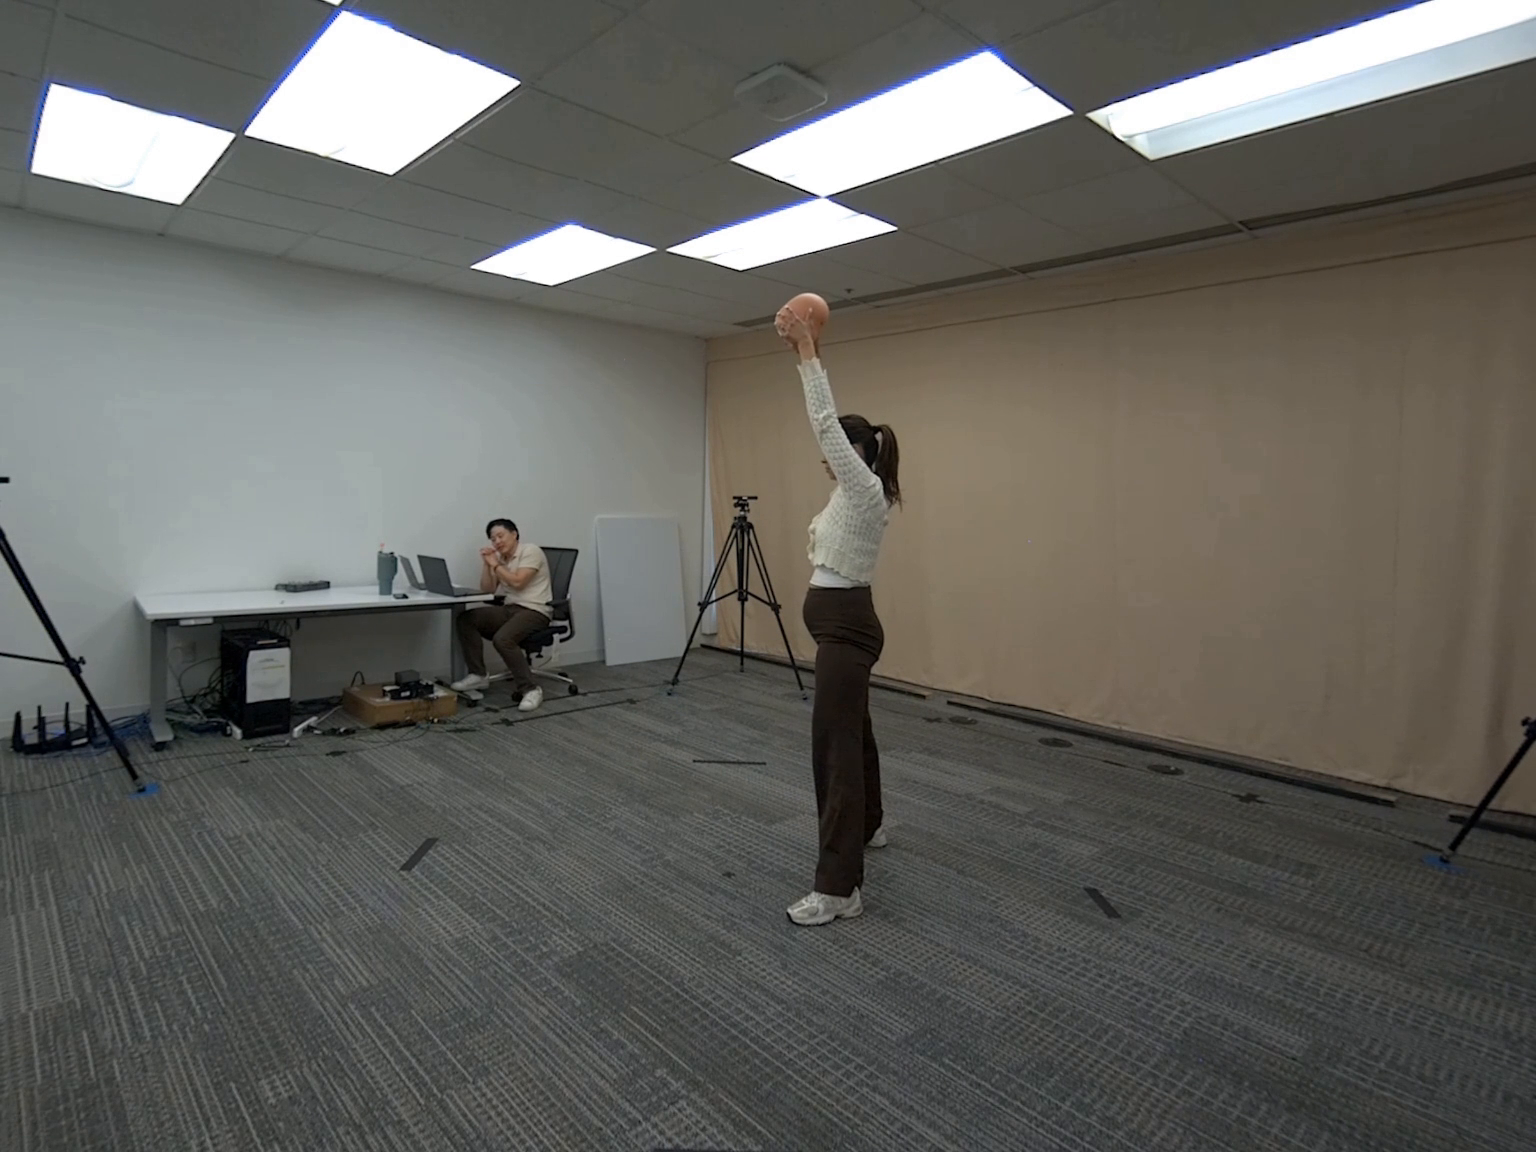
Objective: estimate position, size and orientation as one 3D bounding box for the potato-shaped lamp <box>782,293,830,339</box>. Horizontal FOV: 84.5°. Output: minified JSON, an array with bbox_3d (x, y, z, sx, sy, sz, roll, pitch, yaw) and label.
[{"bbox_3d":[0.123,-0.937,3.086,0.198,0.173,0.162,-39,-11,9],"label":"potato-shaped lamp"}]
